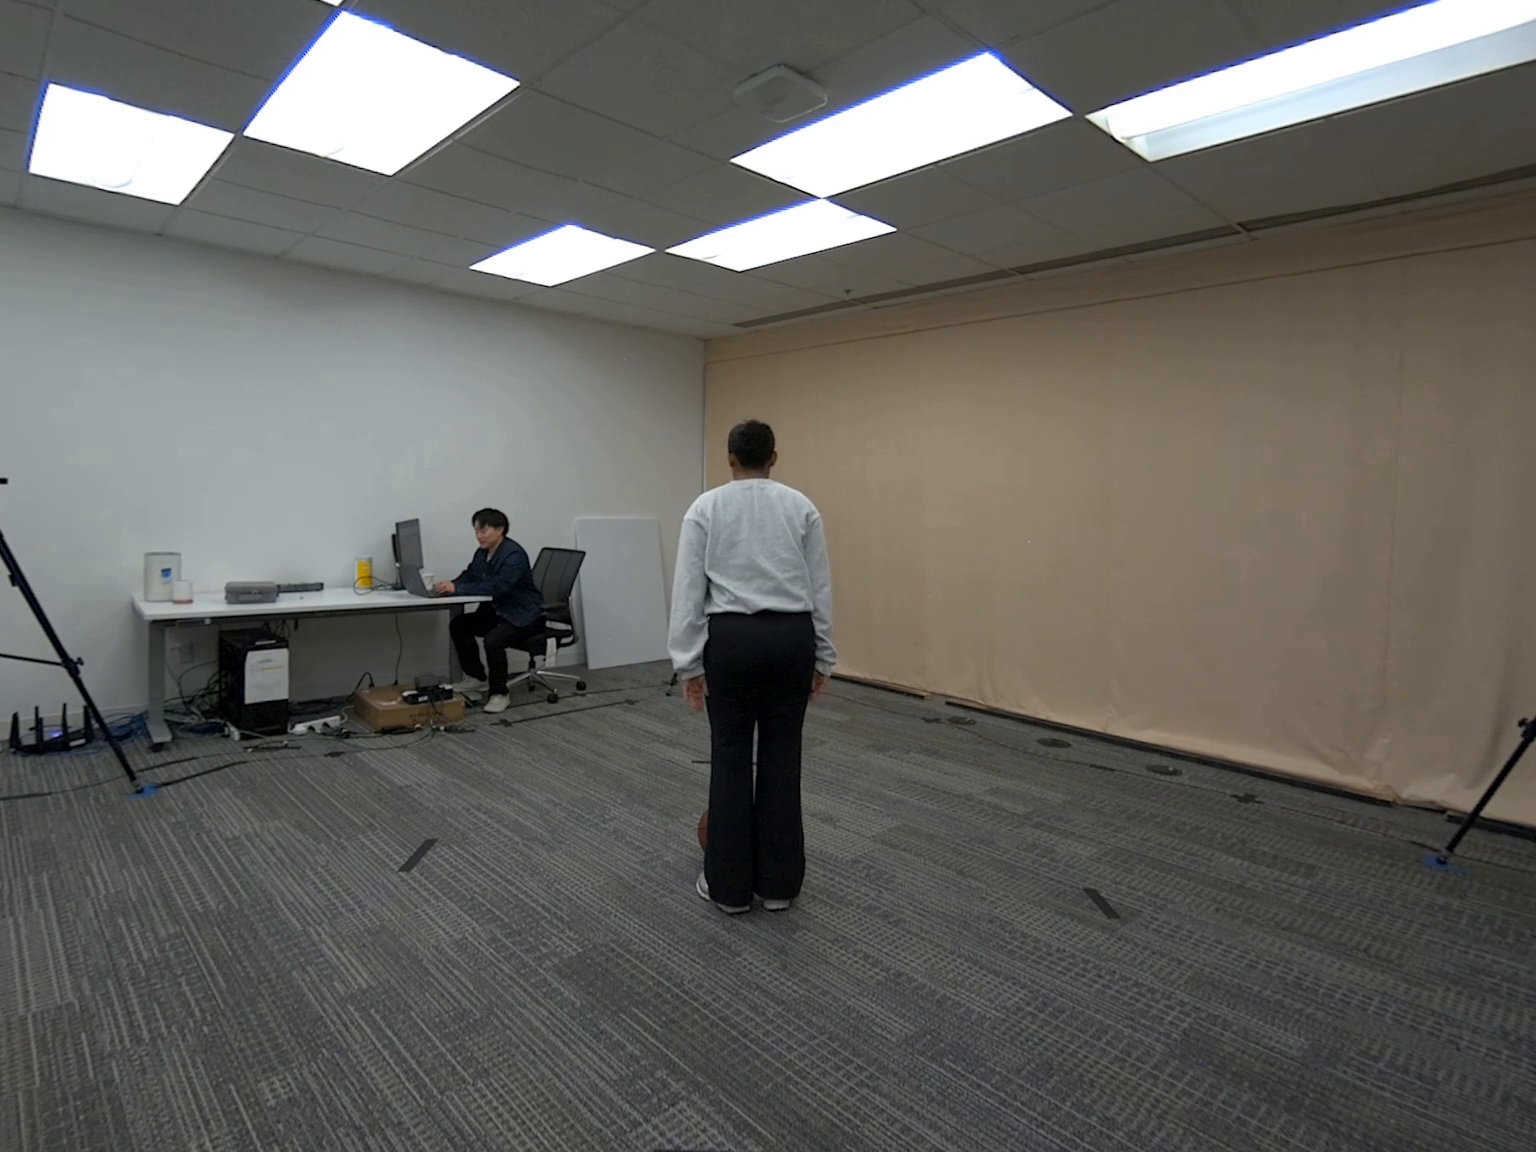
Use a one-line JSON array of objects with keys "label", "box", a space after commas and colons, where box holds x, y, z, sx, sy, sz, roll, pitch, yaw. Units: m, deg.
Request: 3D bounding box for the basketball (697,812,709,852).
[{"label": "basketball", "box": [-0.153, 0.977, 3.208, 0.236, 0.235, 0.237, 1, 4, -1]}]
